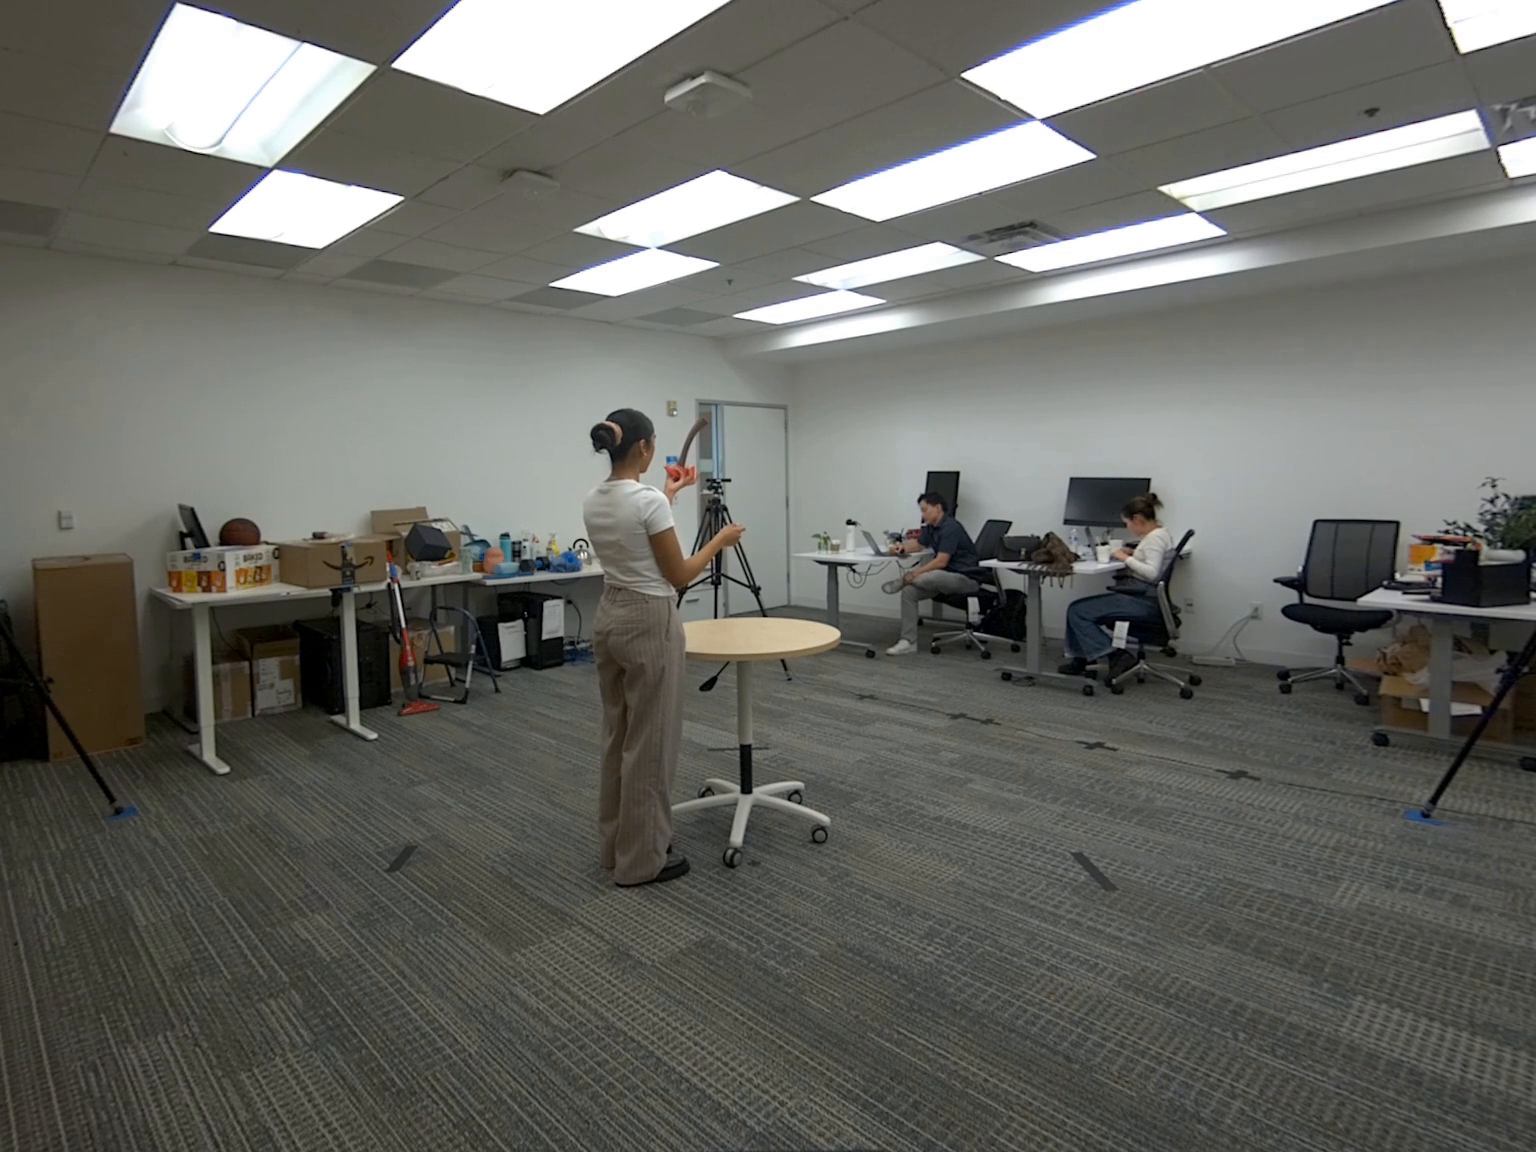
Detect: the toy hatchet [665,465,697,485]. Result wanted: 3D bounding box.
[{"bbox_3d":[-0.286,-0.478,3.314,0.127,0.271,0.030,40,-18,-24],"label":"toy hatchet"}]
